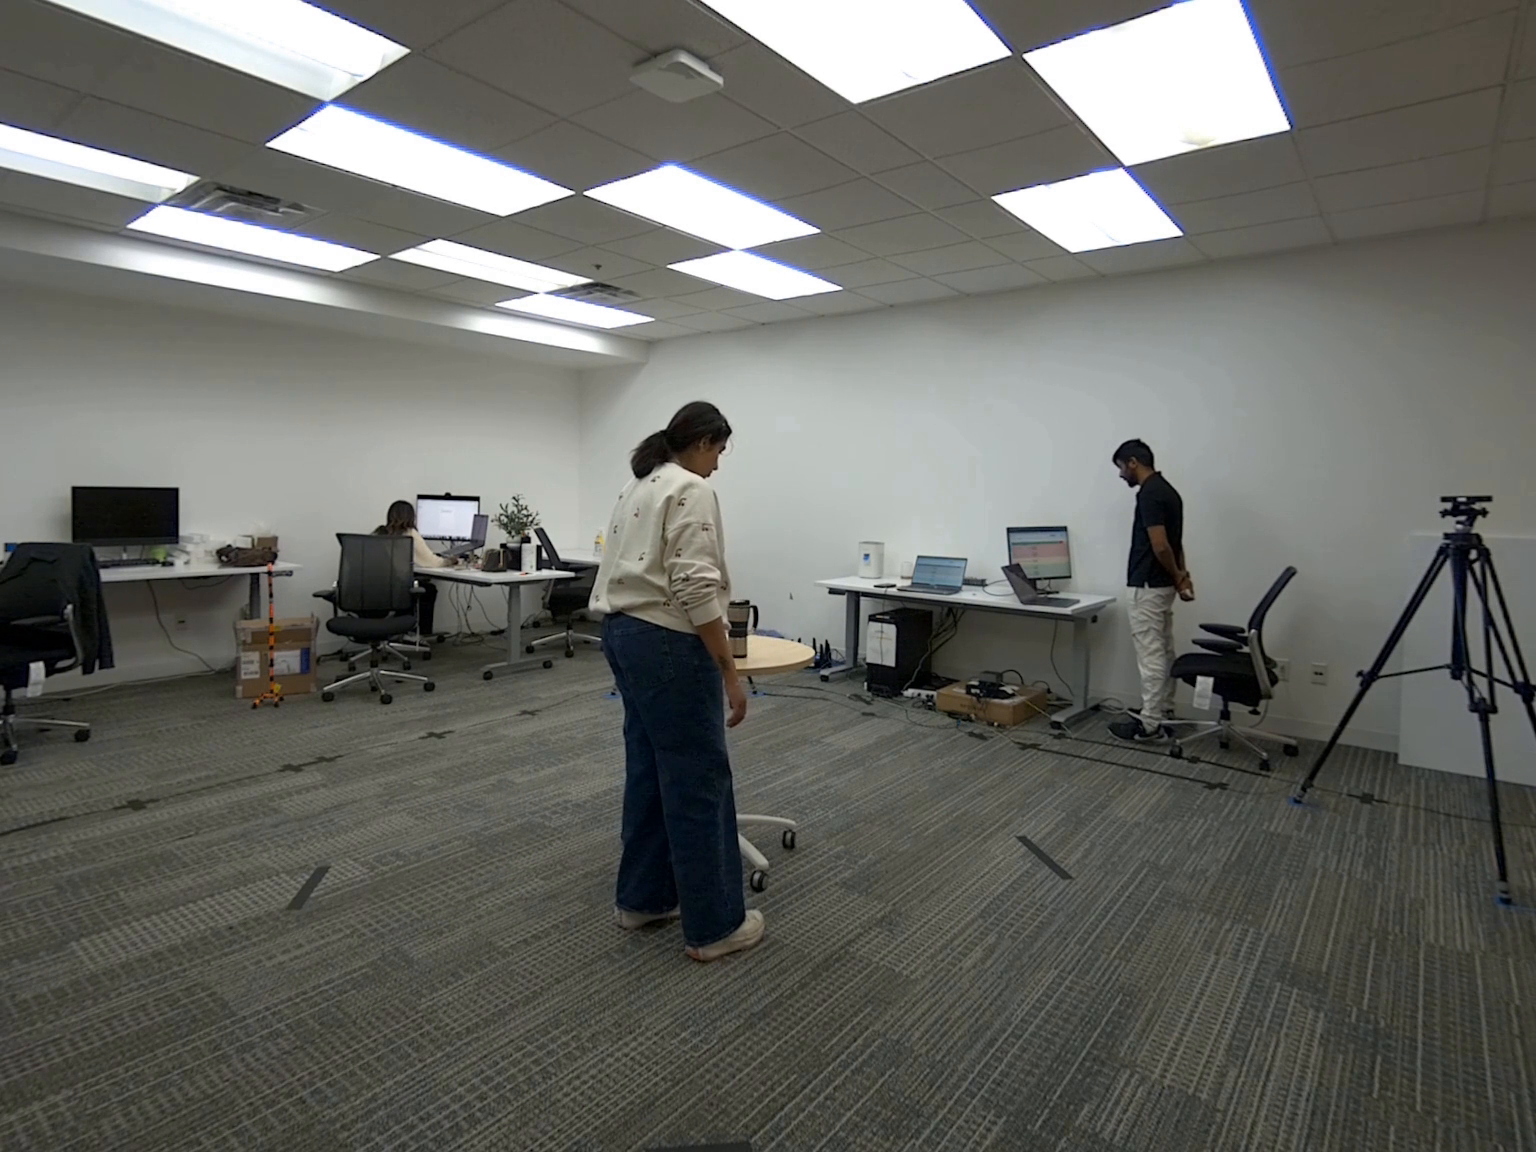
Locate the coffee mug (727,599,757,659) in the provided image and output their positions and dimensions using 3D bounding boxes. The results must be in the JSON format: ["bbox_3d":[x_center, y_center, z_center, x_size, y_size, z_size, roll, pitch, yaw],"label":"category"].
[{"bbox_3d":[-0.127,0.190,3.045,0.089,0.203,0.121,3,2,8],"label":"coffee mug"}]
